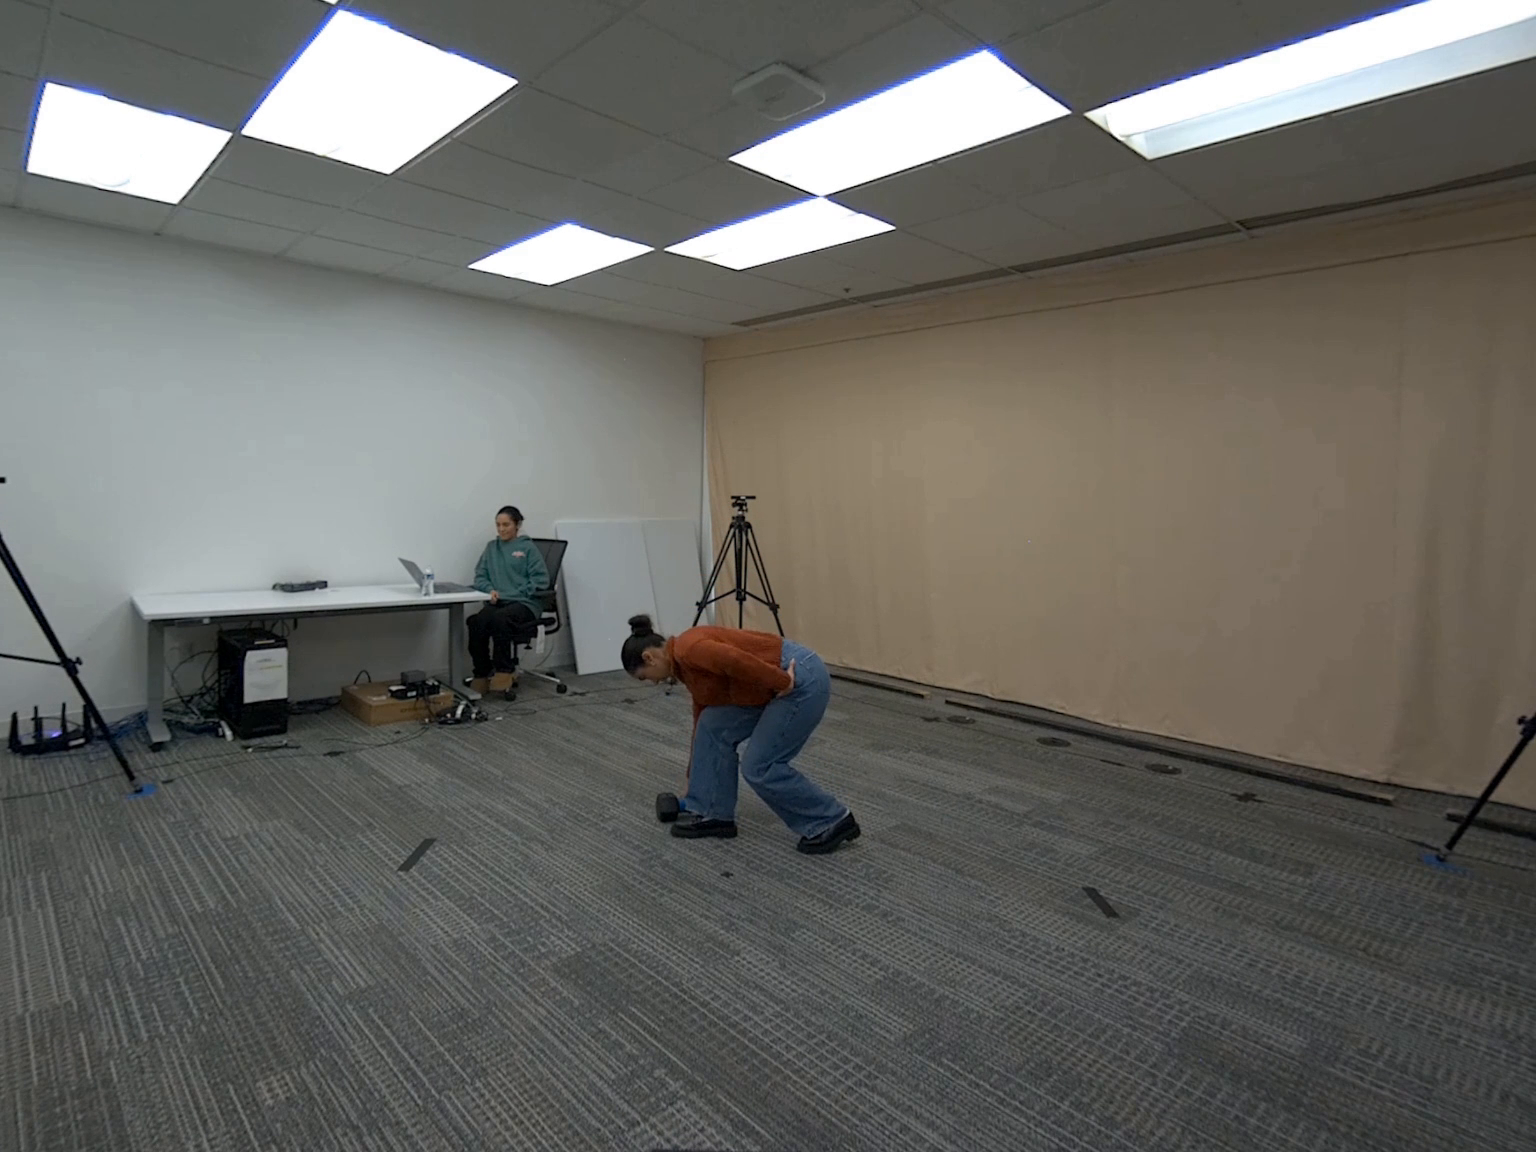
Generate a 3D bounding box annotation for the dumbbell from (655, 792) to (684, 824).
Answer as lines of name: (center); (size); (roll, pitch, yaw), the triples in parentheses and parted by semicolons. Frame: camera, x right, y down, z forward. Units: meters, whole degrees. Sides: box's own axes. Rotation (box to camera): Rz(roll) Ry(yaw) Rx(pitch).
dumbbell: (-0.343, 0.996, 3.659); (0.290, 0.121, 0.112); (-2, 35, -17)
